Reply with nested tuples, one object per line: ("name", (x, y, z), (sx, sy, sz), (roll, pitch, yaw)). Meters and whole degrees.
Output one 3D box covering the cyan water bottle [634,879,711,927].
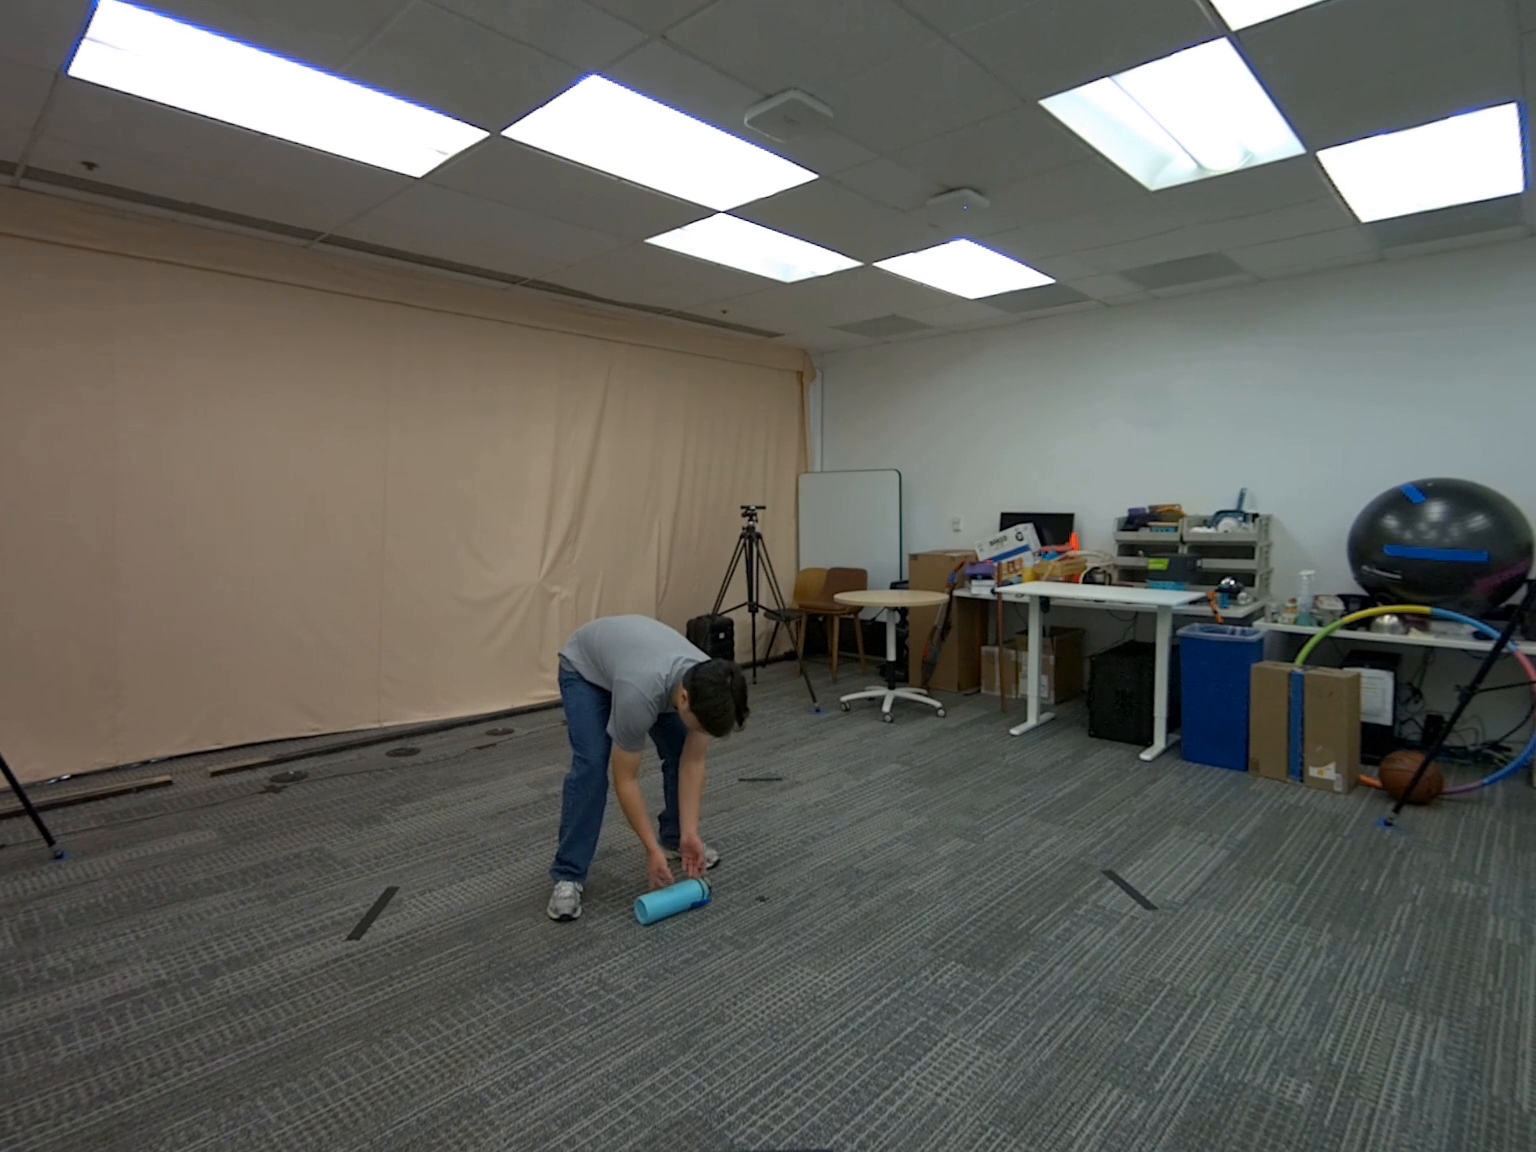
("cyan water bottle", (-0.311, 1.109, 2.873), (0.275, 0.092, 0.095), (-5, 6, -36))
